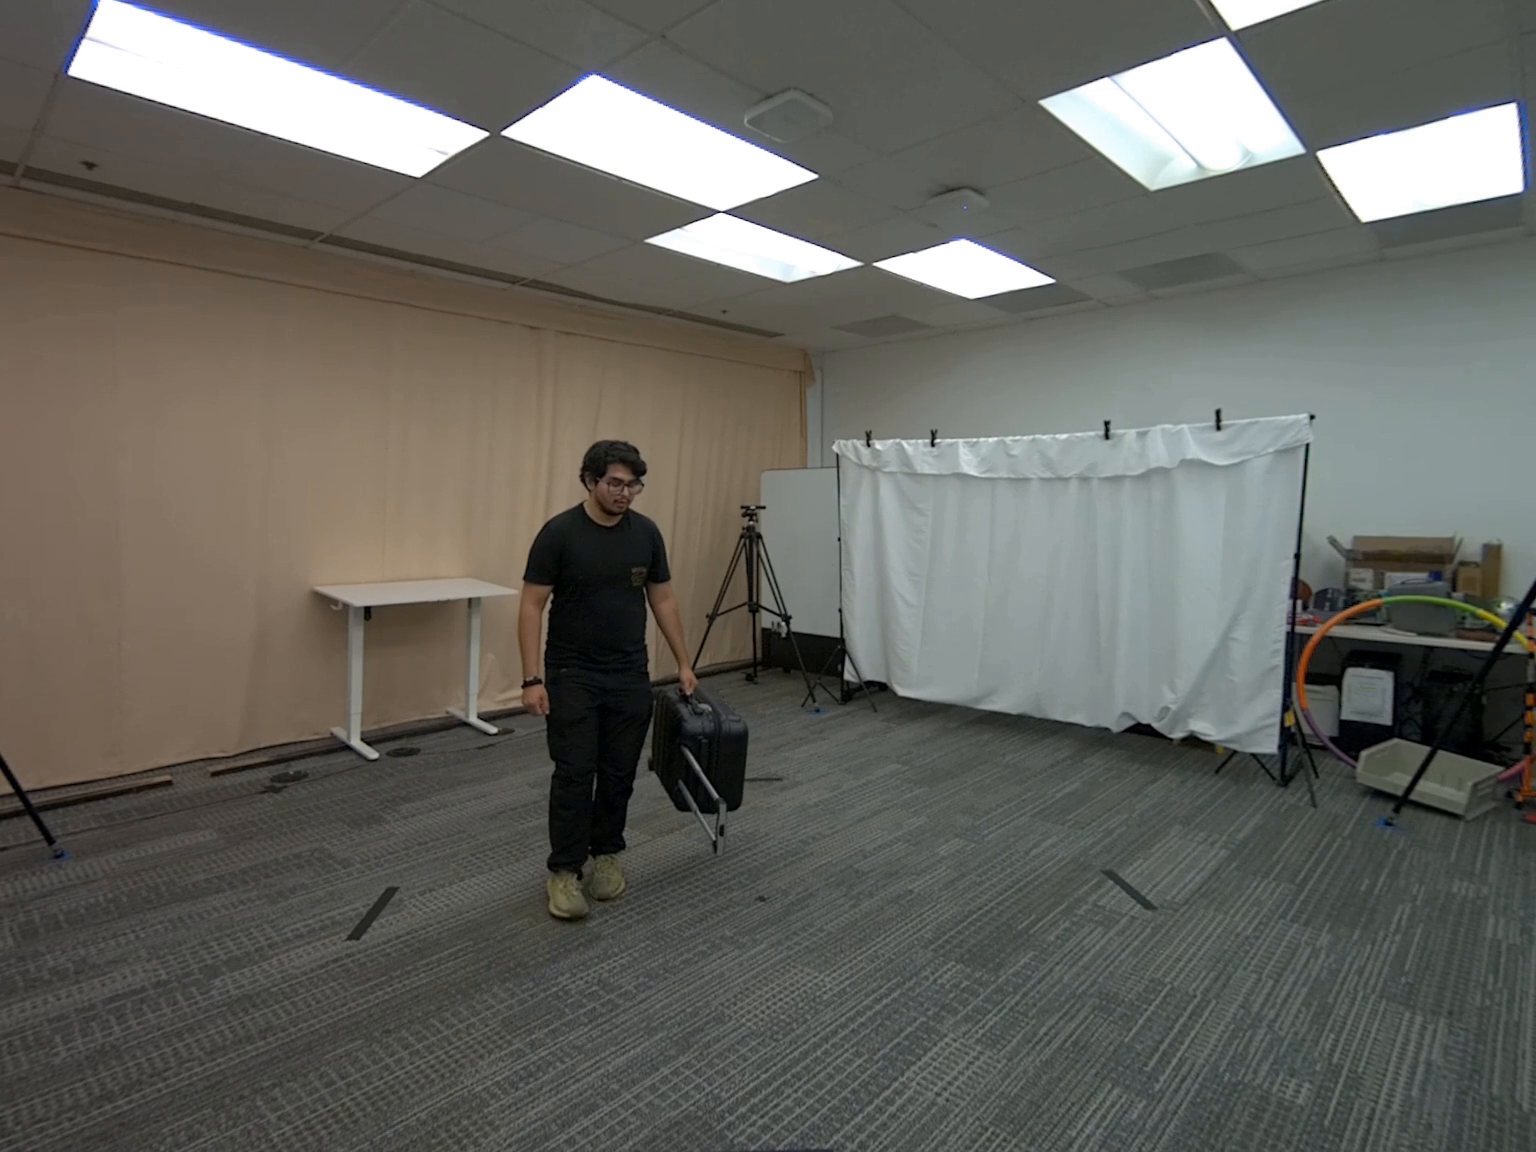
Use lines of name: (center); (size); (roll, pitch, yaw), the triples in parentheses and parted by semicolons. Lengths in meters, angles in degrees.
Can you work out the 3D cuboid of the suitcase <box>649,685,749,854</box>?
suitcase: (-0.191, 0.667, 2.951); (0.252, 0.383, 1.001); (4, 7, -20)
